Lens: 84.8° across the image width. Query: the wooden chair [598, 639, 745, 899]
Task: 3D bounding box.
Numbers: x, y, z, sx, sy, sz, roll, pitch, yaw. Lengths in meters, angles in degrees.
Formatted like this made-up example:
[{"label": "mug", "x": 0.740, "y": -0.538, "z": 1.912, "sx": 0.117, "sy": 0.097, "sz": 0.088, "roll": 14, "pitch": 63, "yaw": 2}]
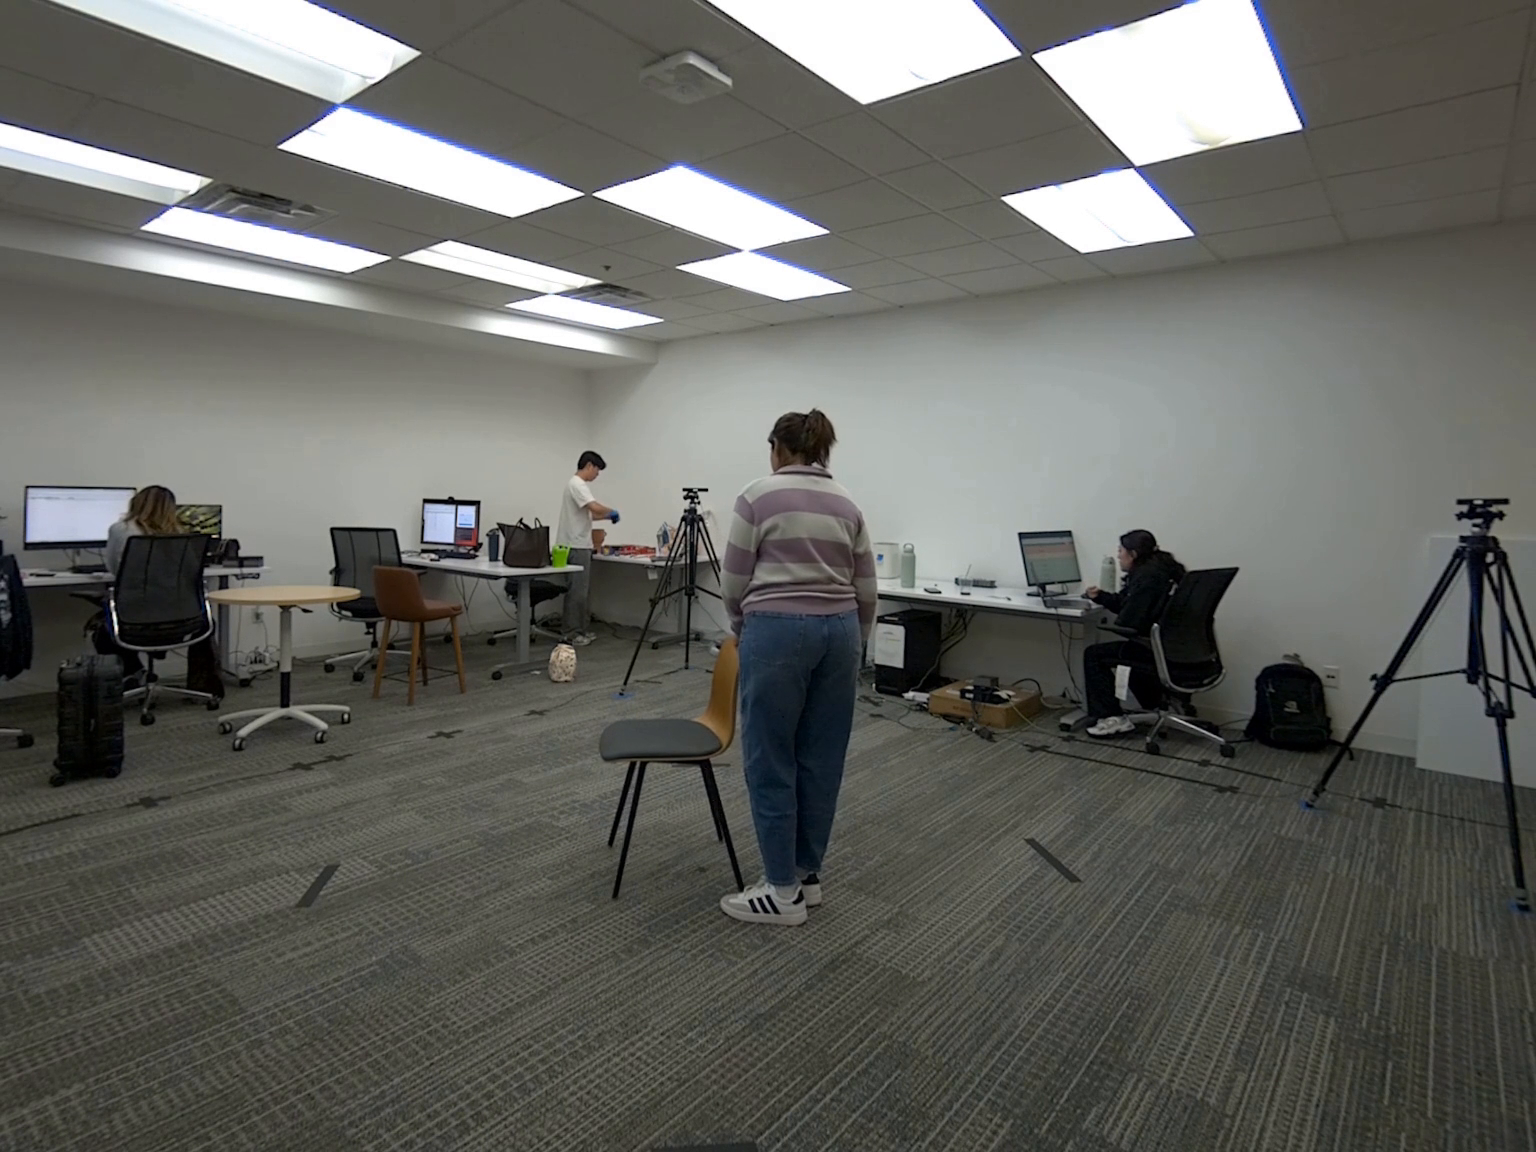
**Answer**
[{"label": "wooden chair", "x": -0.360, "y": 0.639, "z": 3.097, "sx": 0.516, "sy": 0.875, "sz": 0.486, "roll": 4, "pitch": 3, "yaw": -13}]
